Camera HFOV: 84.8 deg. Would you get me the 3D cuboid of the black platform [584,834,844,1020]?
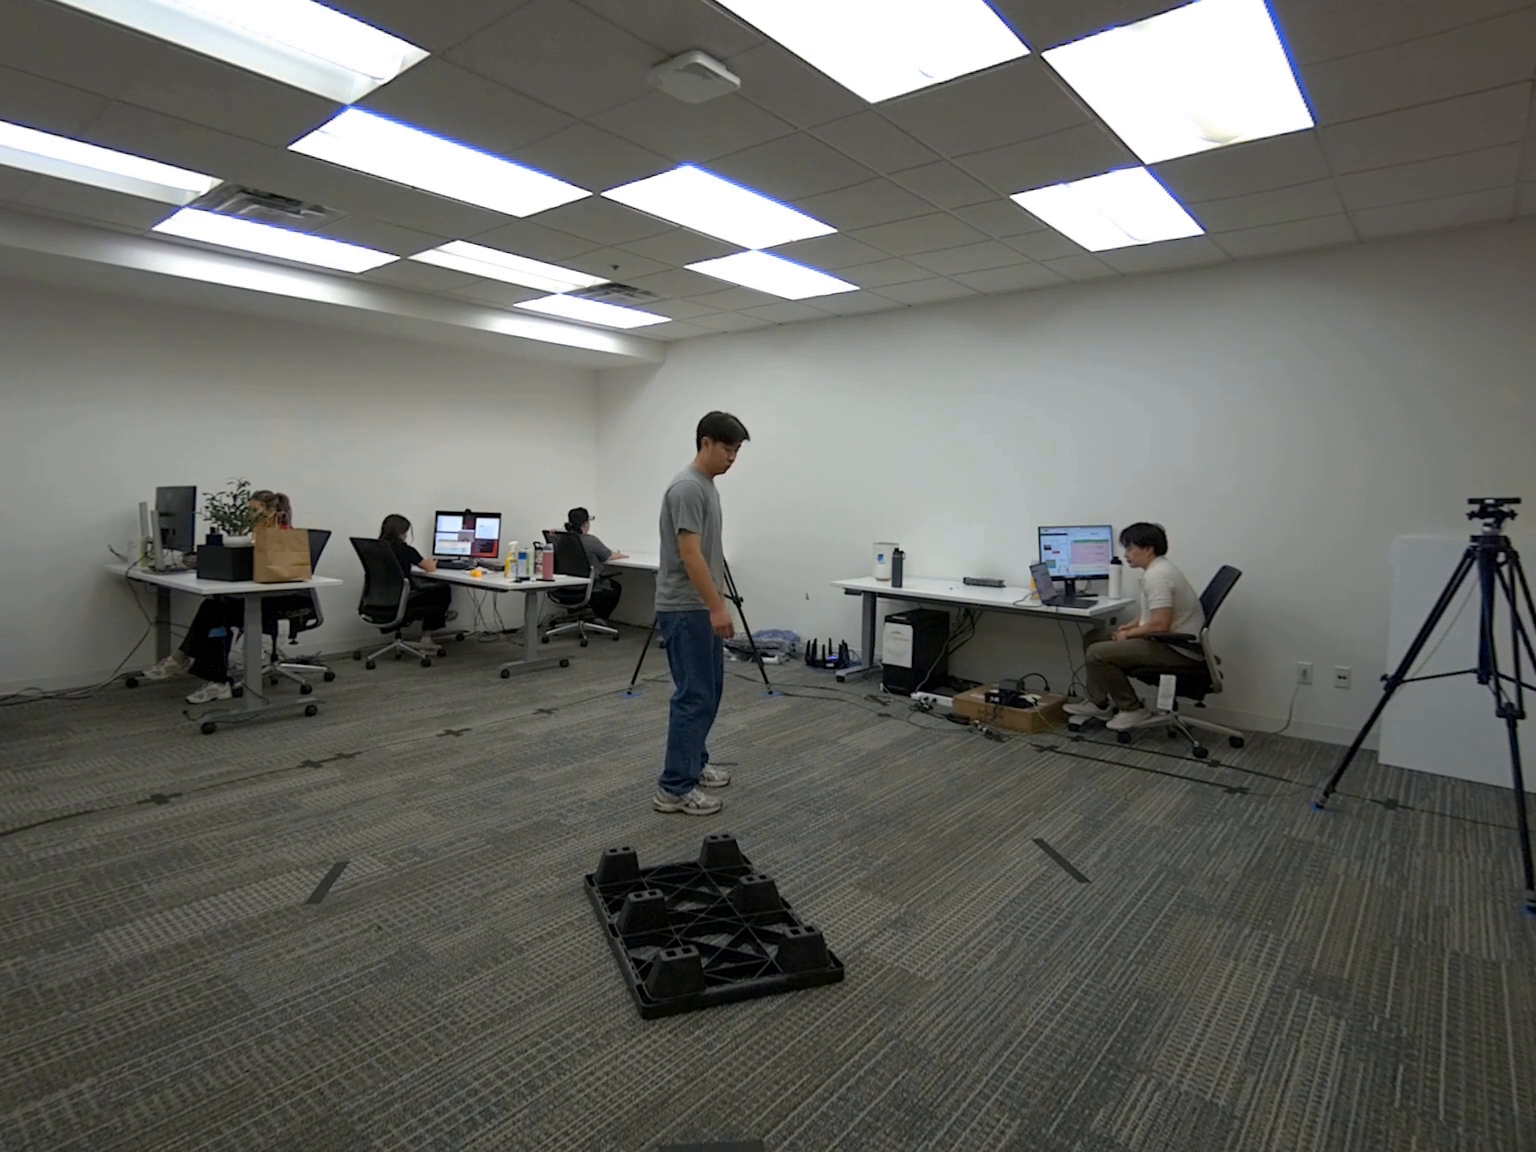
[{"bbox_3d":[-0.212,1.040,2.679,0.592,0.143,0.827,-2,7,-23],"label":"black platform"}]
